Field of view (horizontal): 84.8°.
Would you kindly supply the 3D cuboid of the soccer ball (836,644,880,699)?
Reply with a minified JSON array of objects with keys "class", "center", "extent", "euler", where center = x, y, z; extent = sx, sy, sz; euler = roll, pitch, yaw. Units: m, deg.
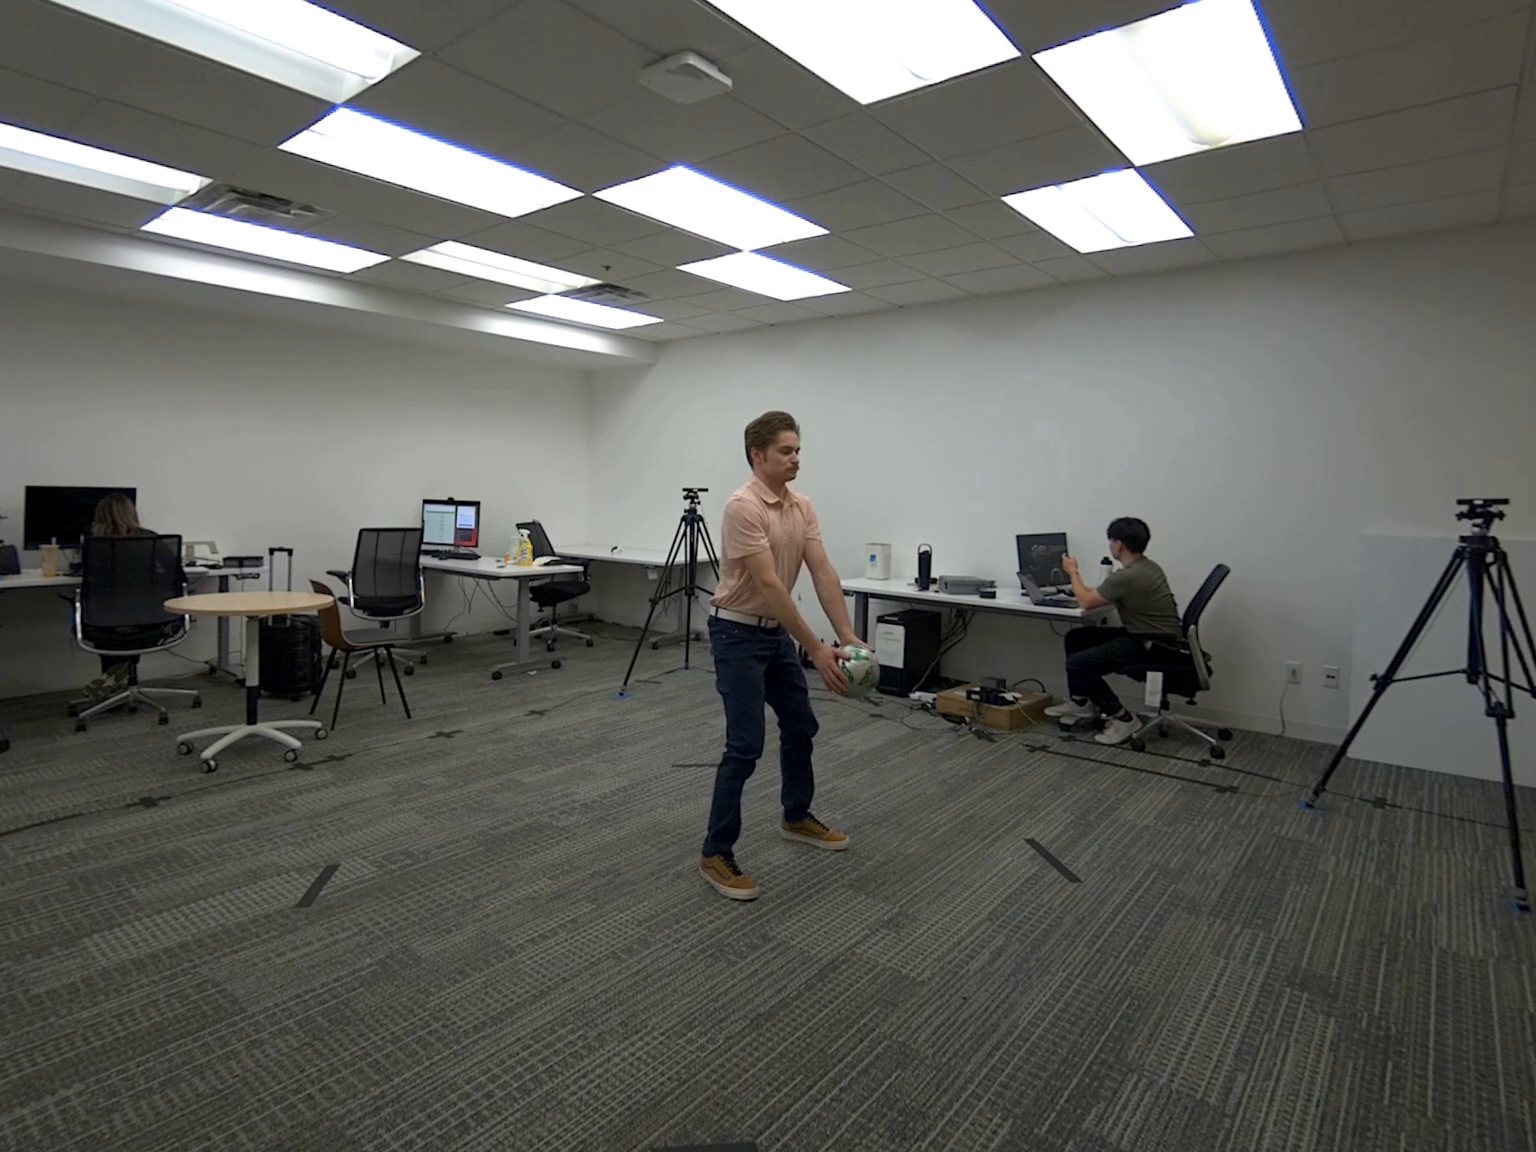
[{"class":"soccer ball","center":[0.286,0.334,2.921],"extent":[0.187,0.187,0.188],"euler":[1,4,-2]}]
